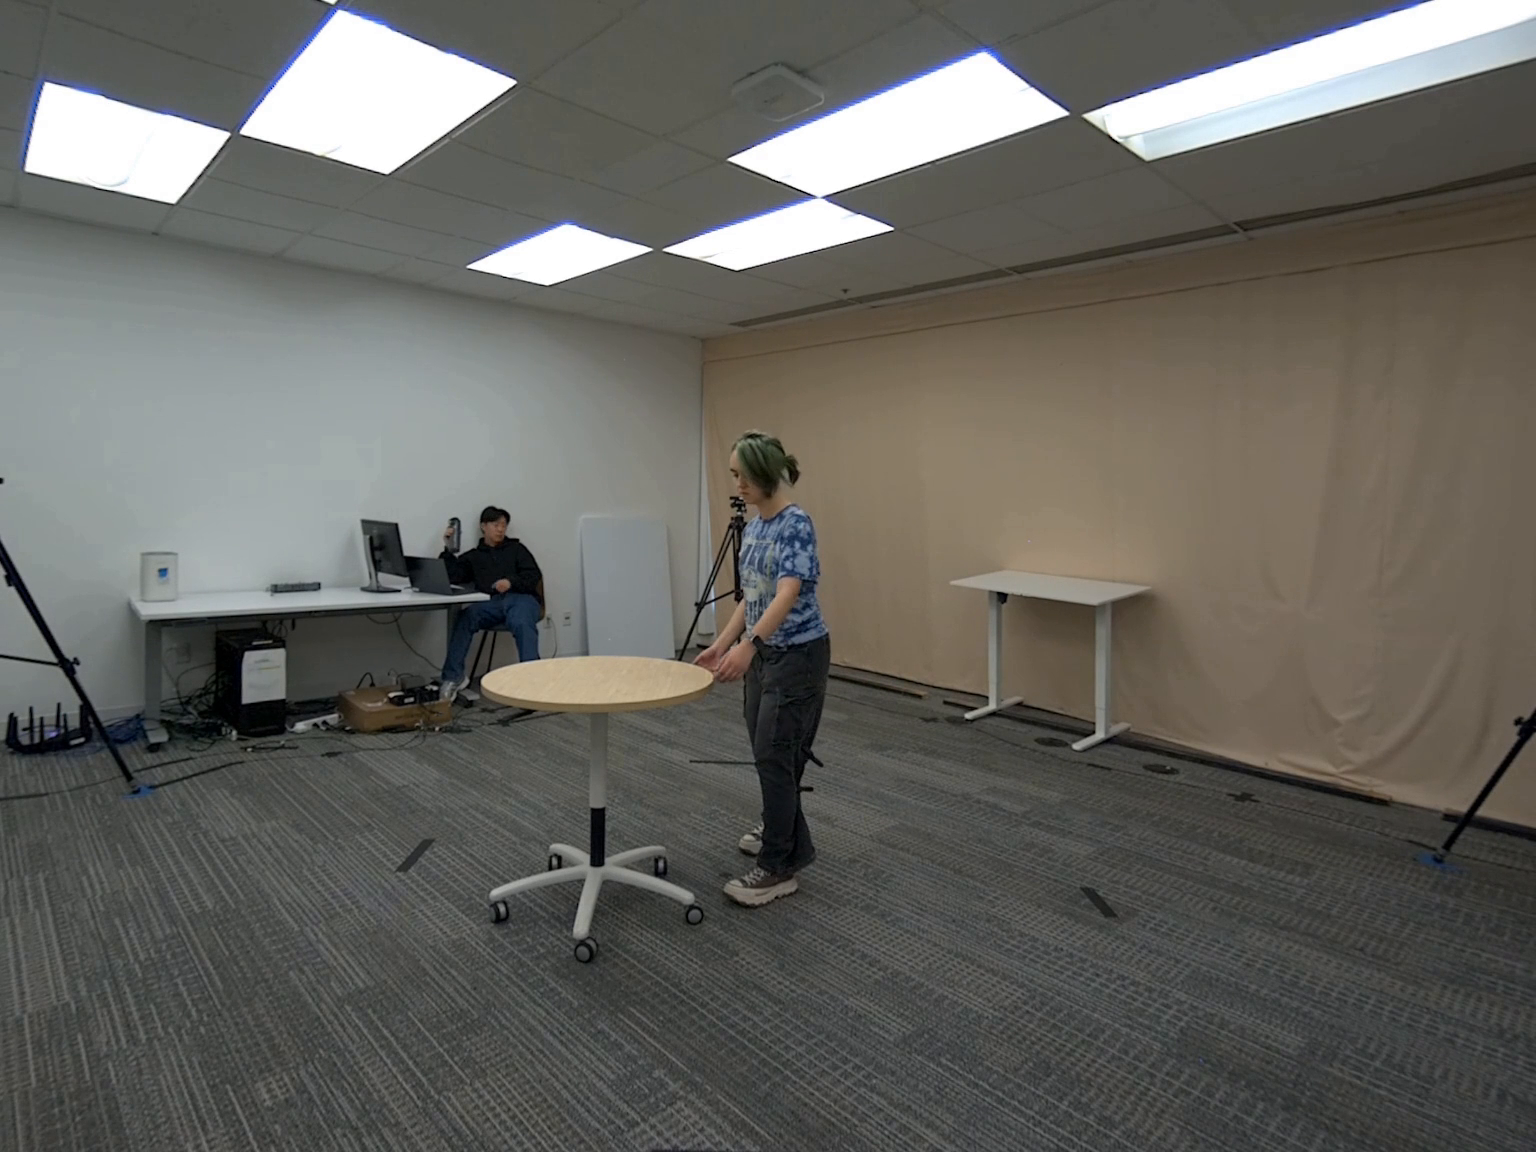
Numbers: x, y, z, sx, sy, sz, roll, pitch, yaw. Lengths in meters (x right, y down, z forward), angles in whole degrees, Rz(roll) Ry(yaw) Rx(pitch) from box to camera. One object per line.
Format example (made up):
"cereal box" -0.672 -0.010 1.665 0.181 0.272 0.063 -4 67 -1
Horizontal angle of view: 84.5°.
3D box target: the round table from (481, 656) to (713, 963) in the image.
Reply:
"round table" -0.580 0.732 2.828 0.763 0.792 0.766 1 4 -1
